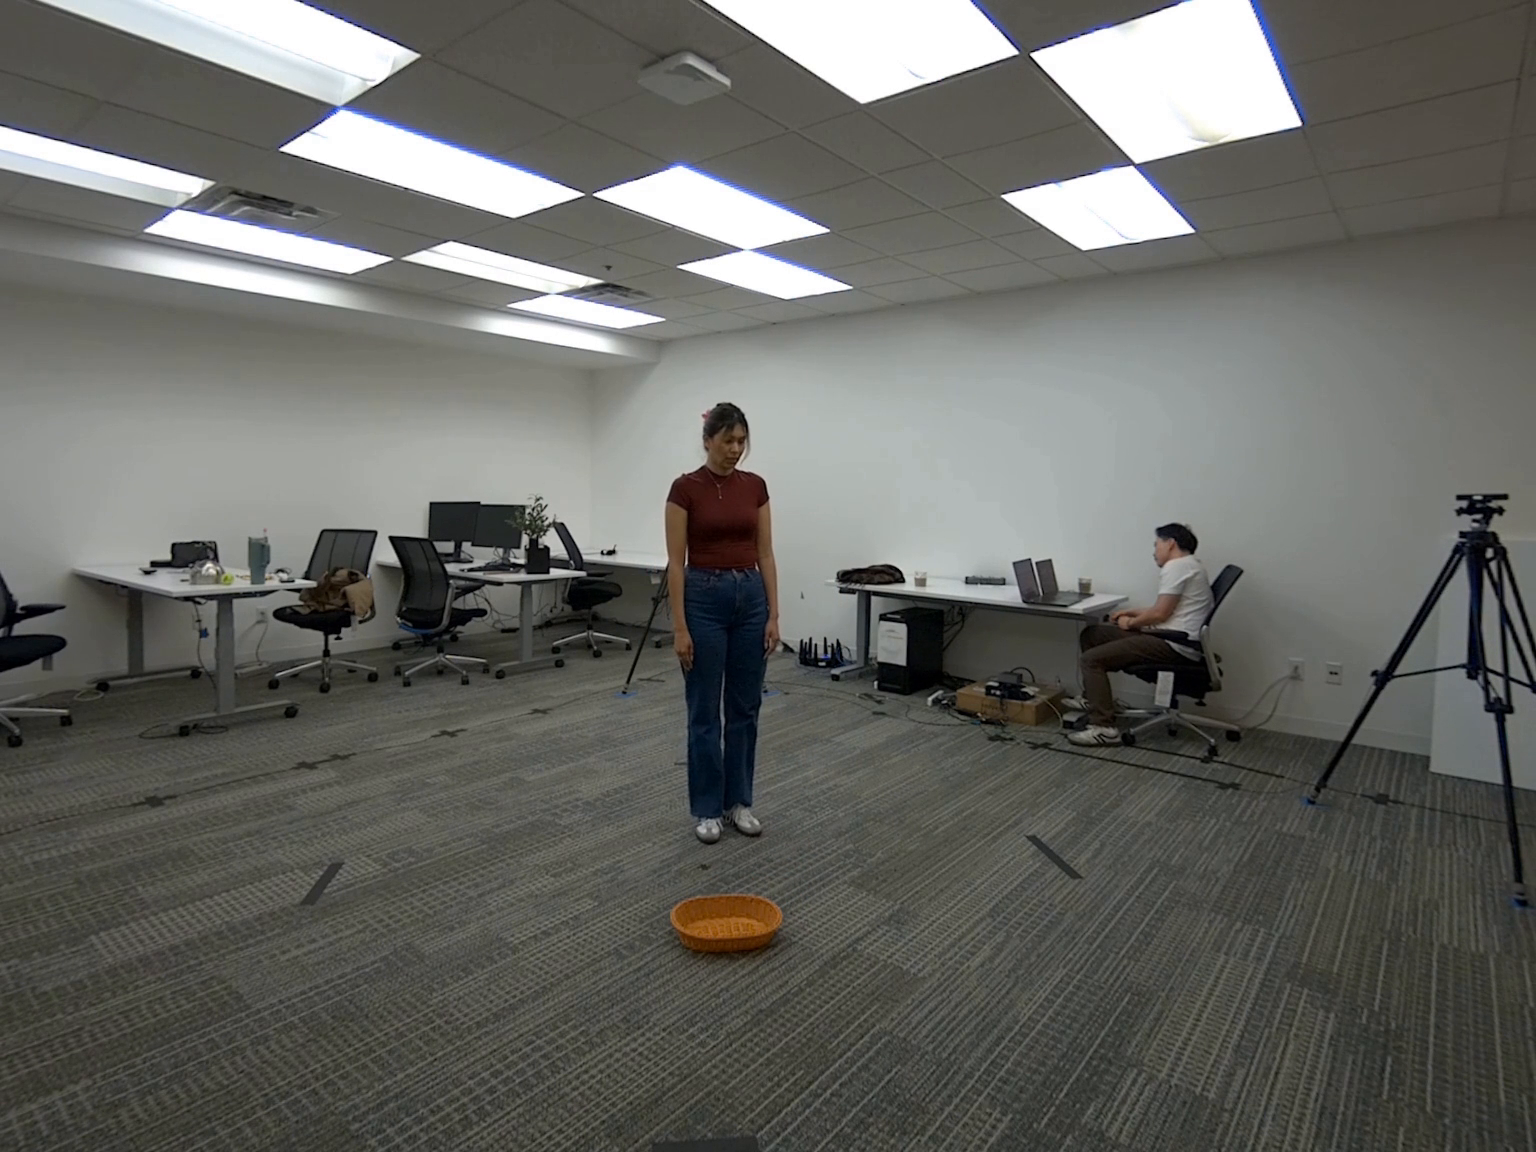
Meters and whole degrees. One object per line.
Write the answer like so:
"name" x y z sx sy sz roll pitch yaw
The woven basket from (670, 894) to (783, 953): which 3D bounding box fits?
"woven basket" -0.137 1.069 2.631 0.347 0.073 0.256 -1 7 -10
